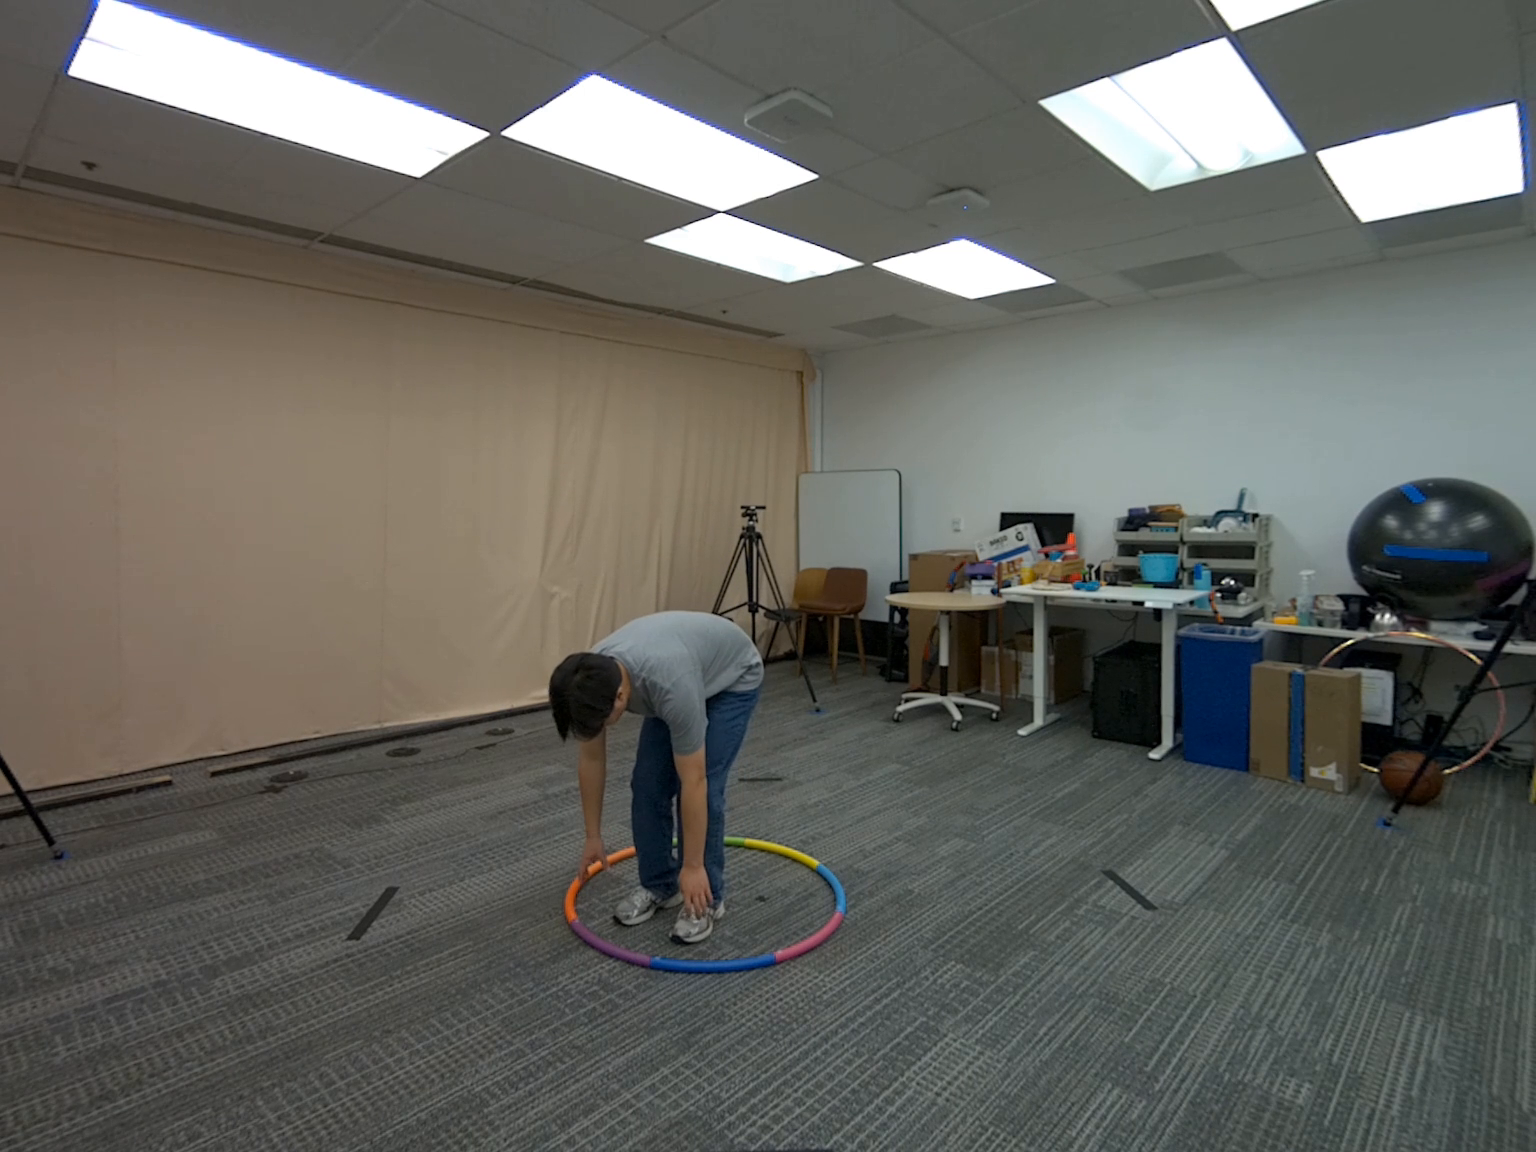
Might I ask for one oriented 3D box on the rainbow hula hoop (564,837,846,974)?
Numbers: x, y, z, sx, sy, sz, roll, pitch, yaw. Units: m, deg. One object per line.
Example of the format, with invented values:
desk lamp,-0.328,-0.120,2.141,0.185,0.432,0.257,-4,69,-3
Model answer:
rainbow hula hoop,-0.222,1.115,2.988,0.978,0.035,0.982,-1,5,-2
